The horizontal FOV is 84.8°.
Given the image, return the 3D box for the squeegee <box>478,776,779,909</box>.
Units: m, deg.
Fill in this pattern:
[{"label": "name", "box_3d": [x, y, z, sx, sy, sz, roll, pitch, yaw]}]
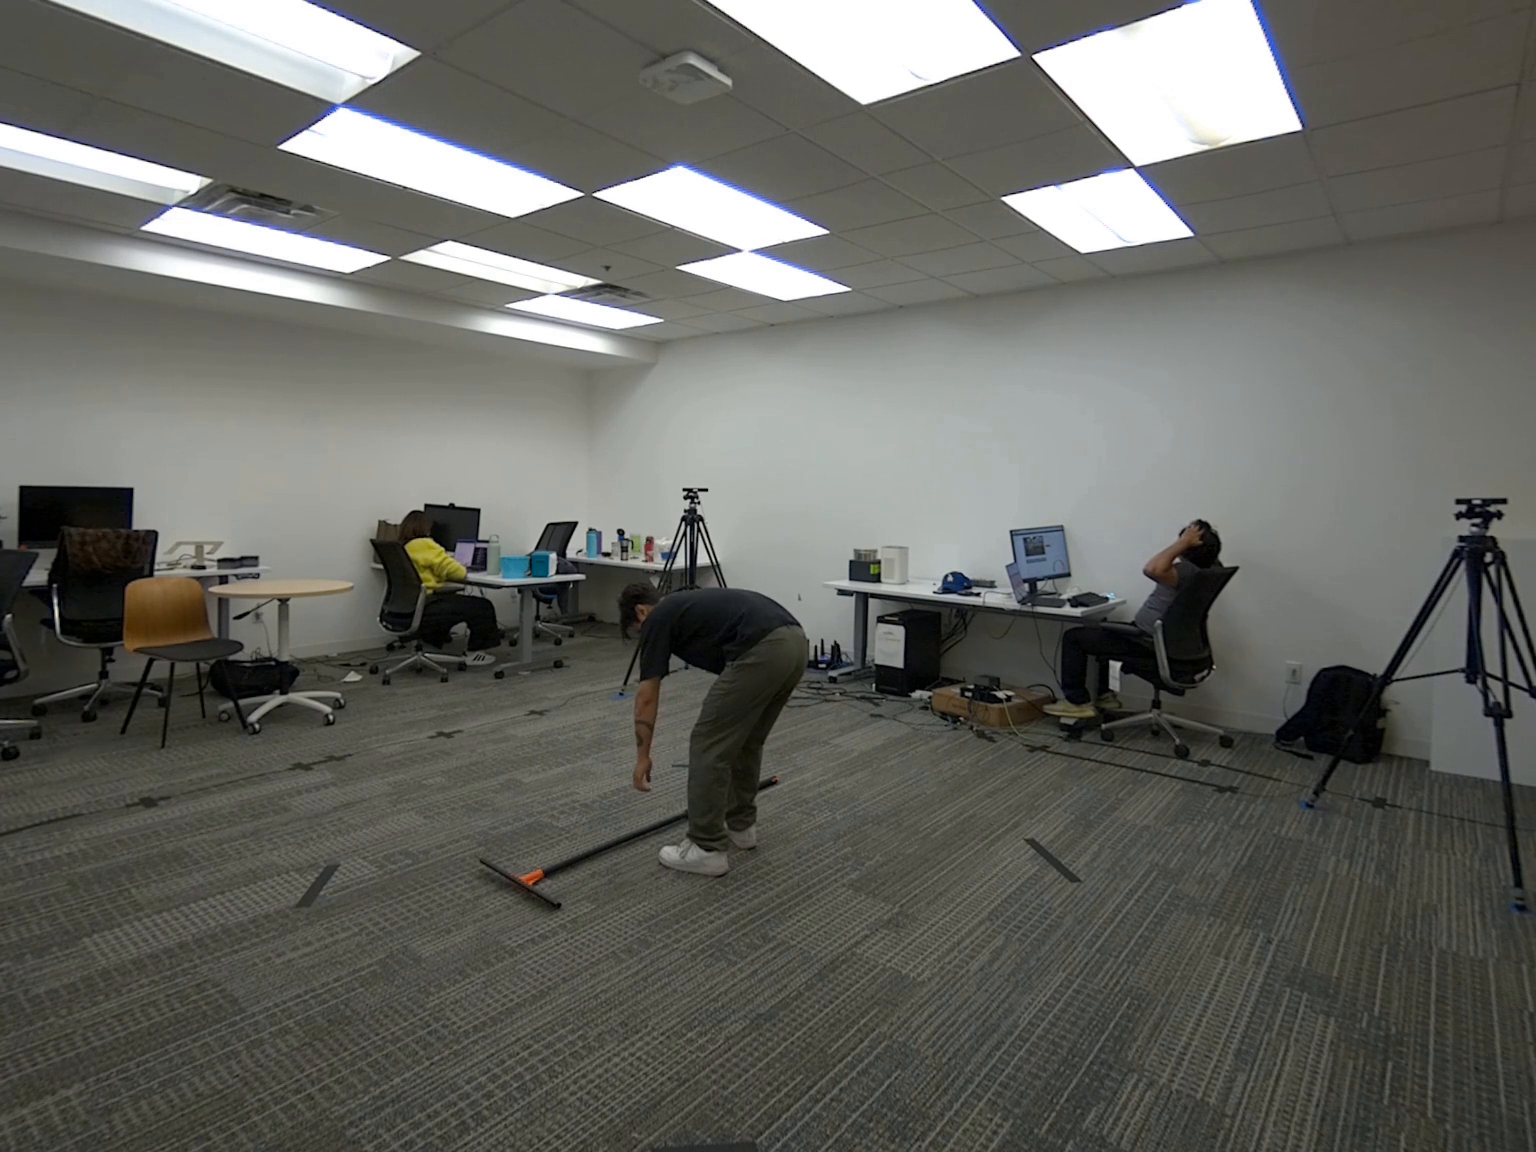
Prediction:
[{"label": "squeegee", "box_3d": [-0.421, 0.991, 3.484, 0.452, 0.053, 1.492, 7, 8, 38]}]
